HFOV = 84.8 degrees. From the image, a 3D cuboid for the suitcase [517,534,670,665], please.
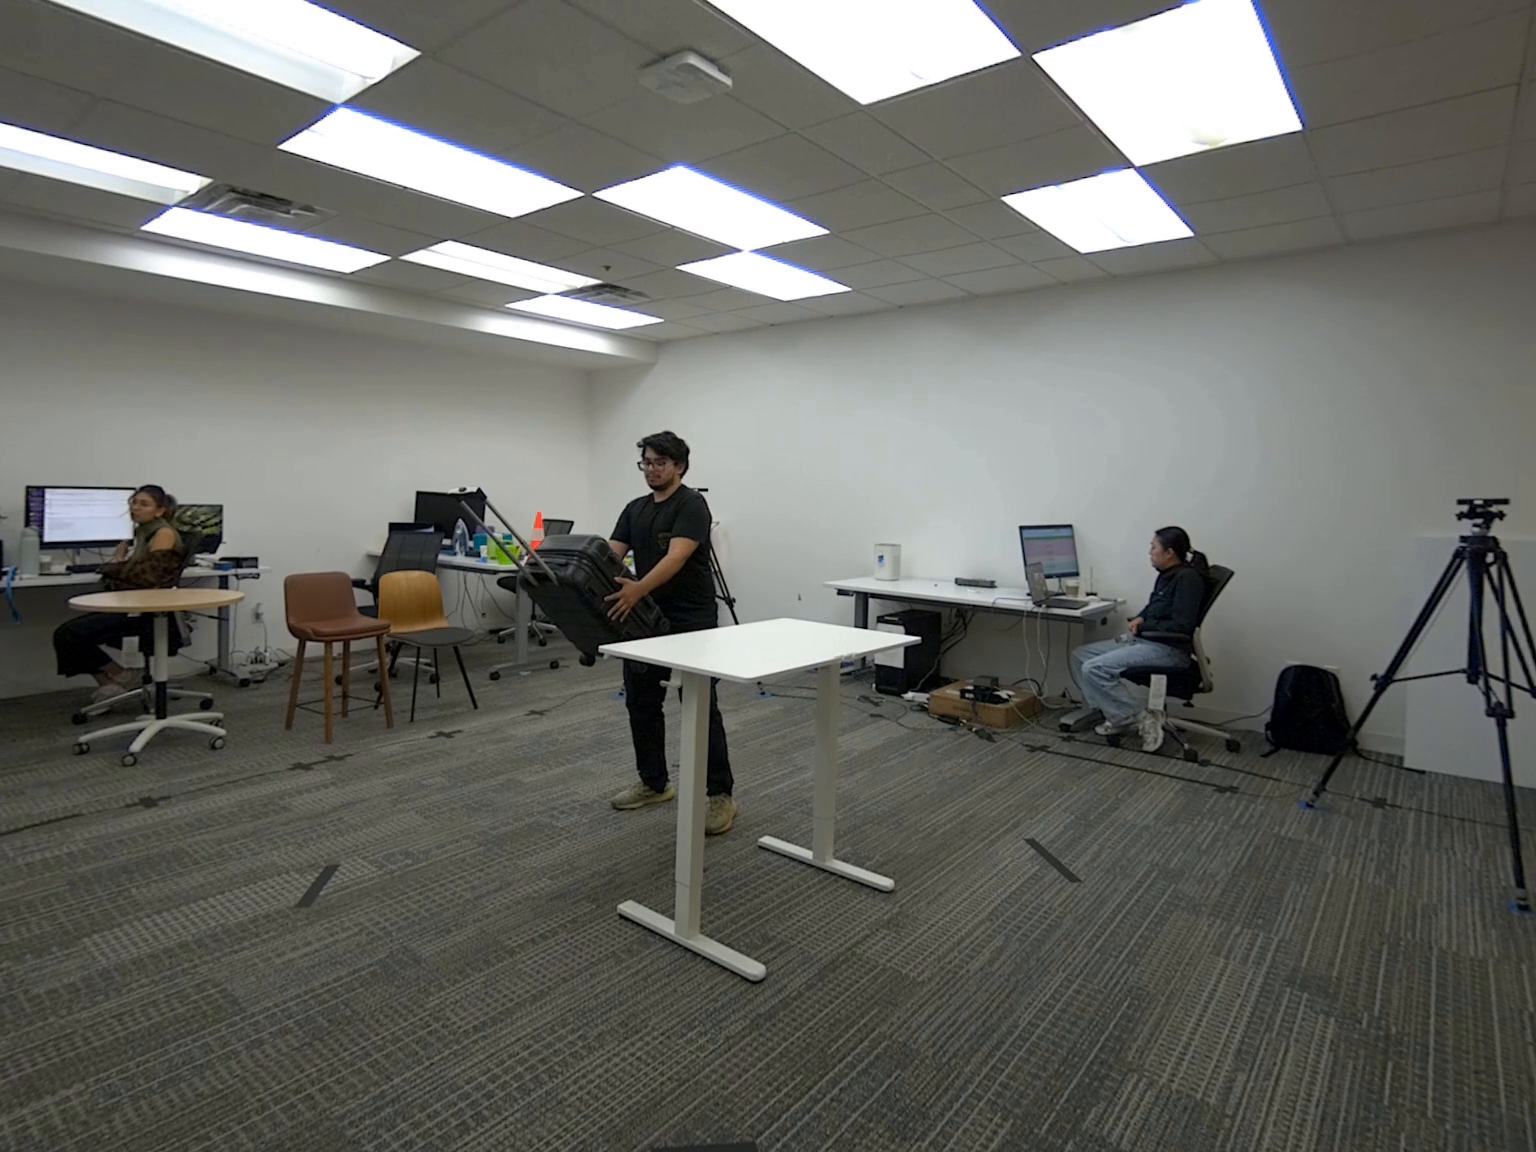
[{"bbox_3d":[-0.785,-0.055,3.184,0.396,0.942,0.259,0,45,37],"label":"suitcase"}]
